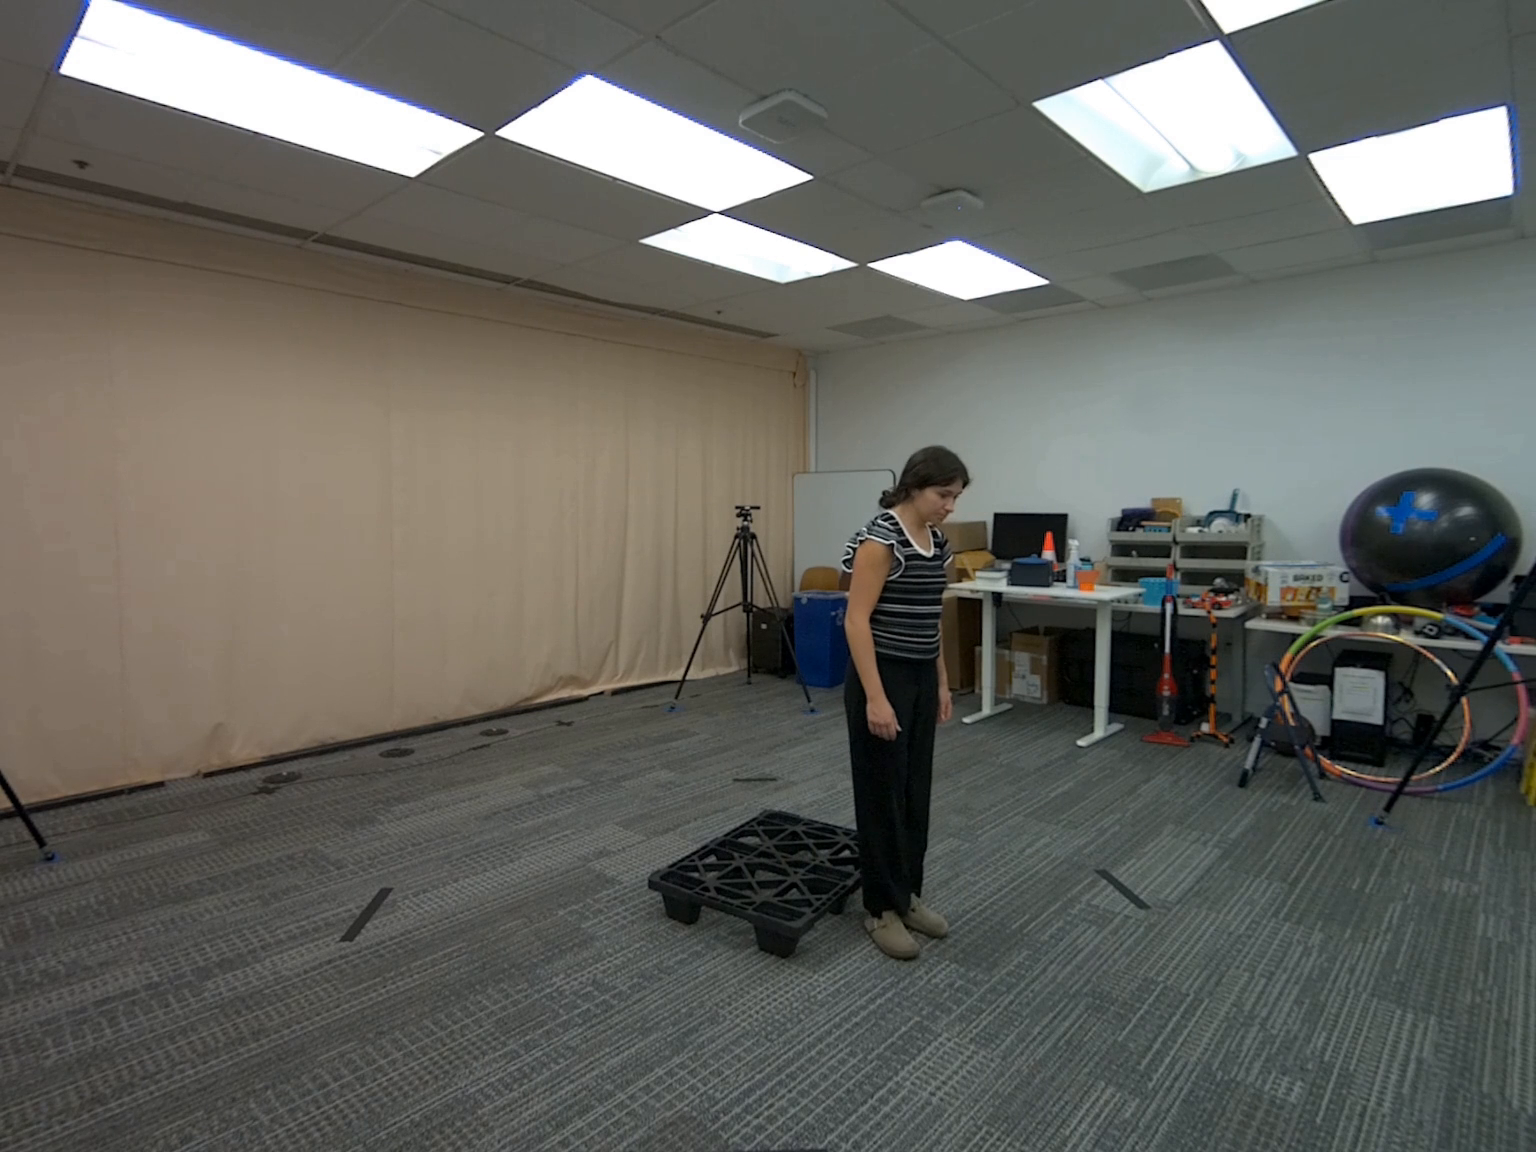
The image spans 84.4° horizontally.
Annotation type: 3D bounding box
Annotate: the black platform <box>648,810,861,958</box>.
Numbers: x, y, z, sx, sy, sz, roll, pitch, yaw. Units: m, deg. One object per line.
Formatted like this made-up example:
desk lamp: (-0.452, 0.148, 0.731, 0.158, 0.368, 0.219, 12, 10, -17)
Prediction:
black platform: (0.055, 1.074, 3.012, 0.624, 0.143, 0.783, 4, 7, 33)
